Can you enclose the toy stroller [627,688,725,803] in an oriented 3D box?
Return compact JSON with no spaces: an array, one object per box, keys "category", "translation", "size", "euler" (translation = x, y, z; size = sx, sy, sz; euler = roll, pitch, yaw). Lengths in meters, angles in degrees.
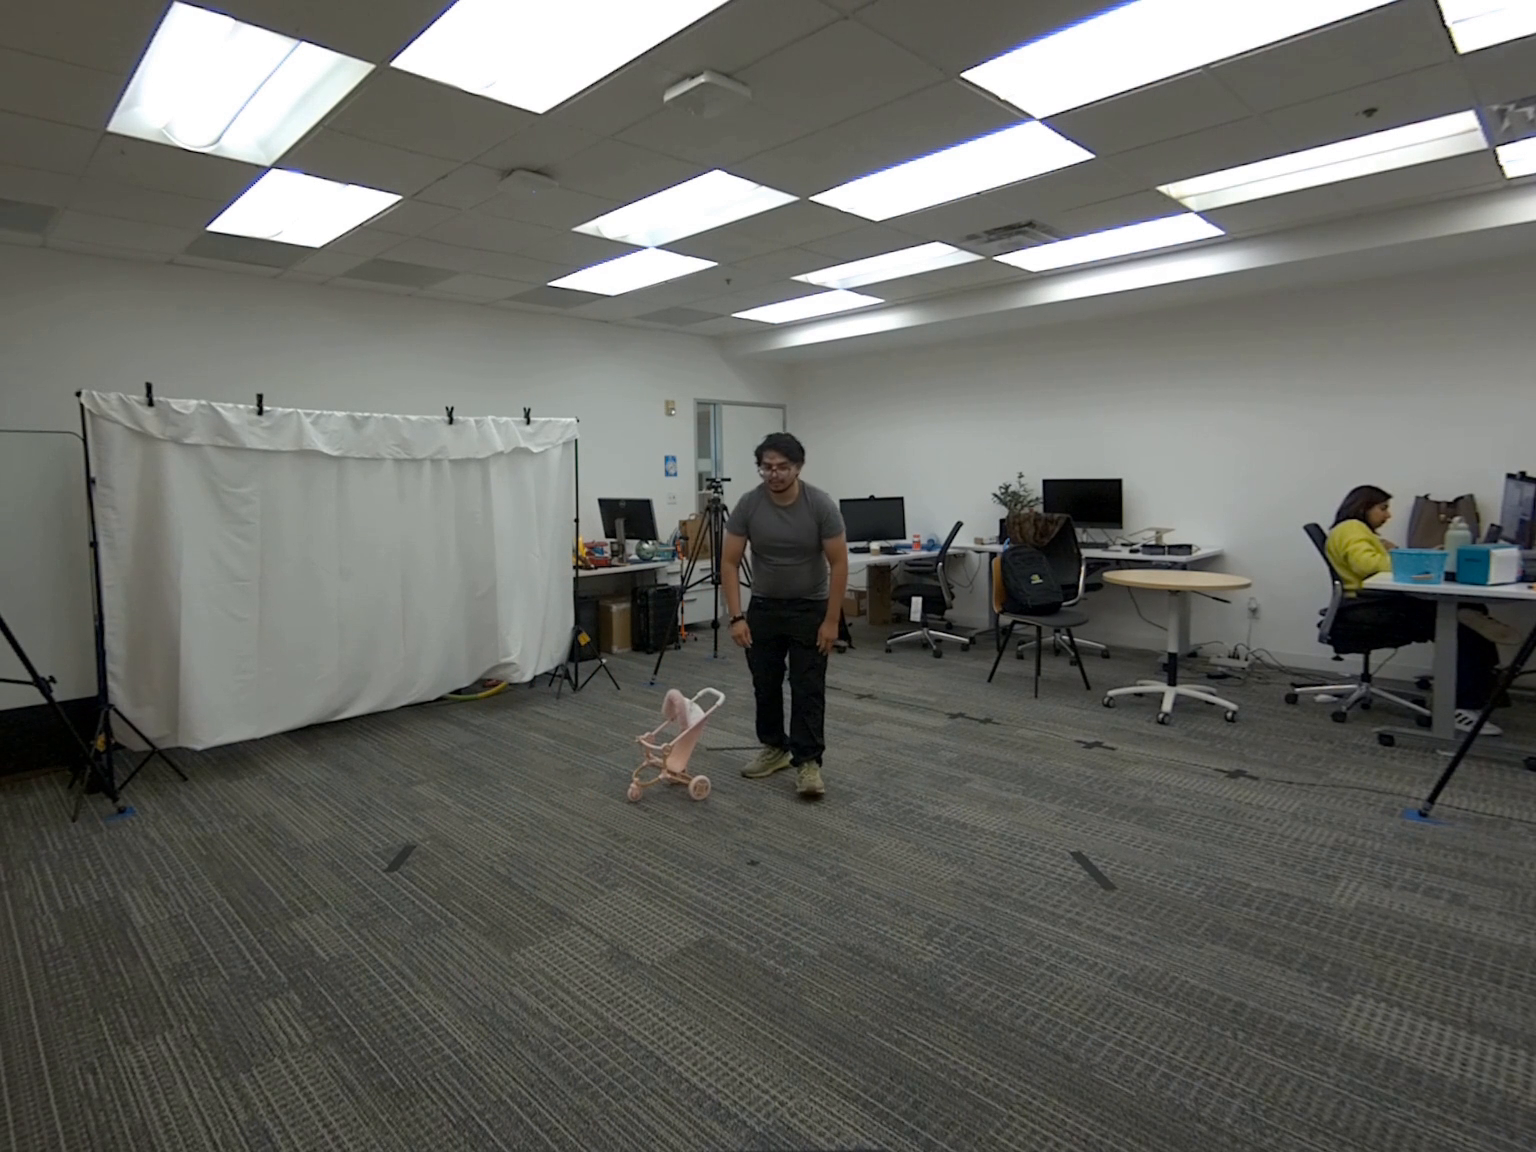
[{"category":"toy stroller","translation":[-0.422,0.745,3.798],"size":[0.332,0.536,0.288],"euler":[14,-3,-26]}]
